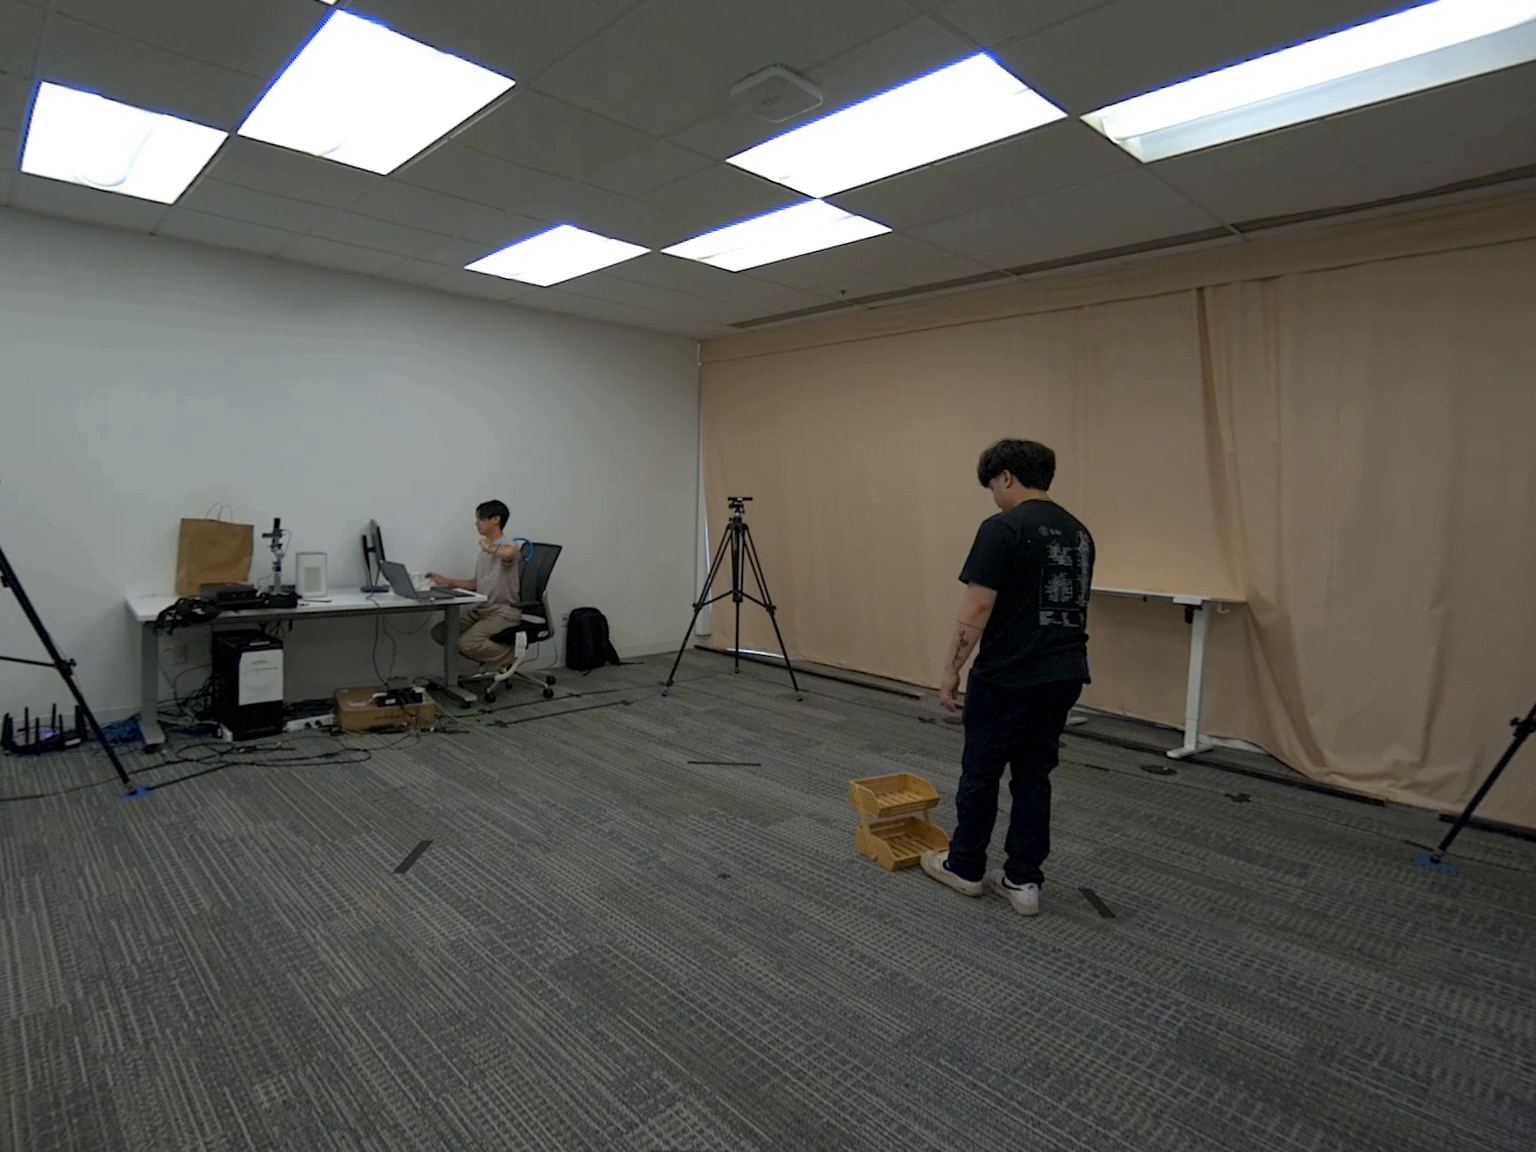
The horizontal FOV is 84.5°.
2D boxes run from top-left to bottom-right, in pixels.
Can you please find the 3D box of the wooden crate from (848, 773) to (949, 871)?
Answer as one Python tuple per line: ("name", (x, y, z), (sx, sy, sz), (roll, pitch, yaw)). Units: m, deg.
("wooden crate", (0.523, 0.970, 3.364), (0.318, 0.273, 0.309), (-1, 4, -31))
